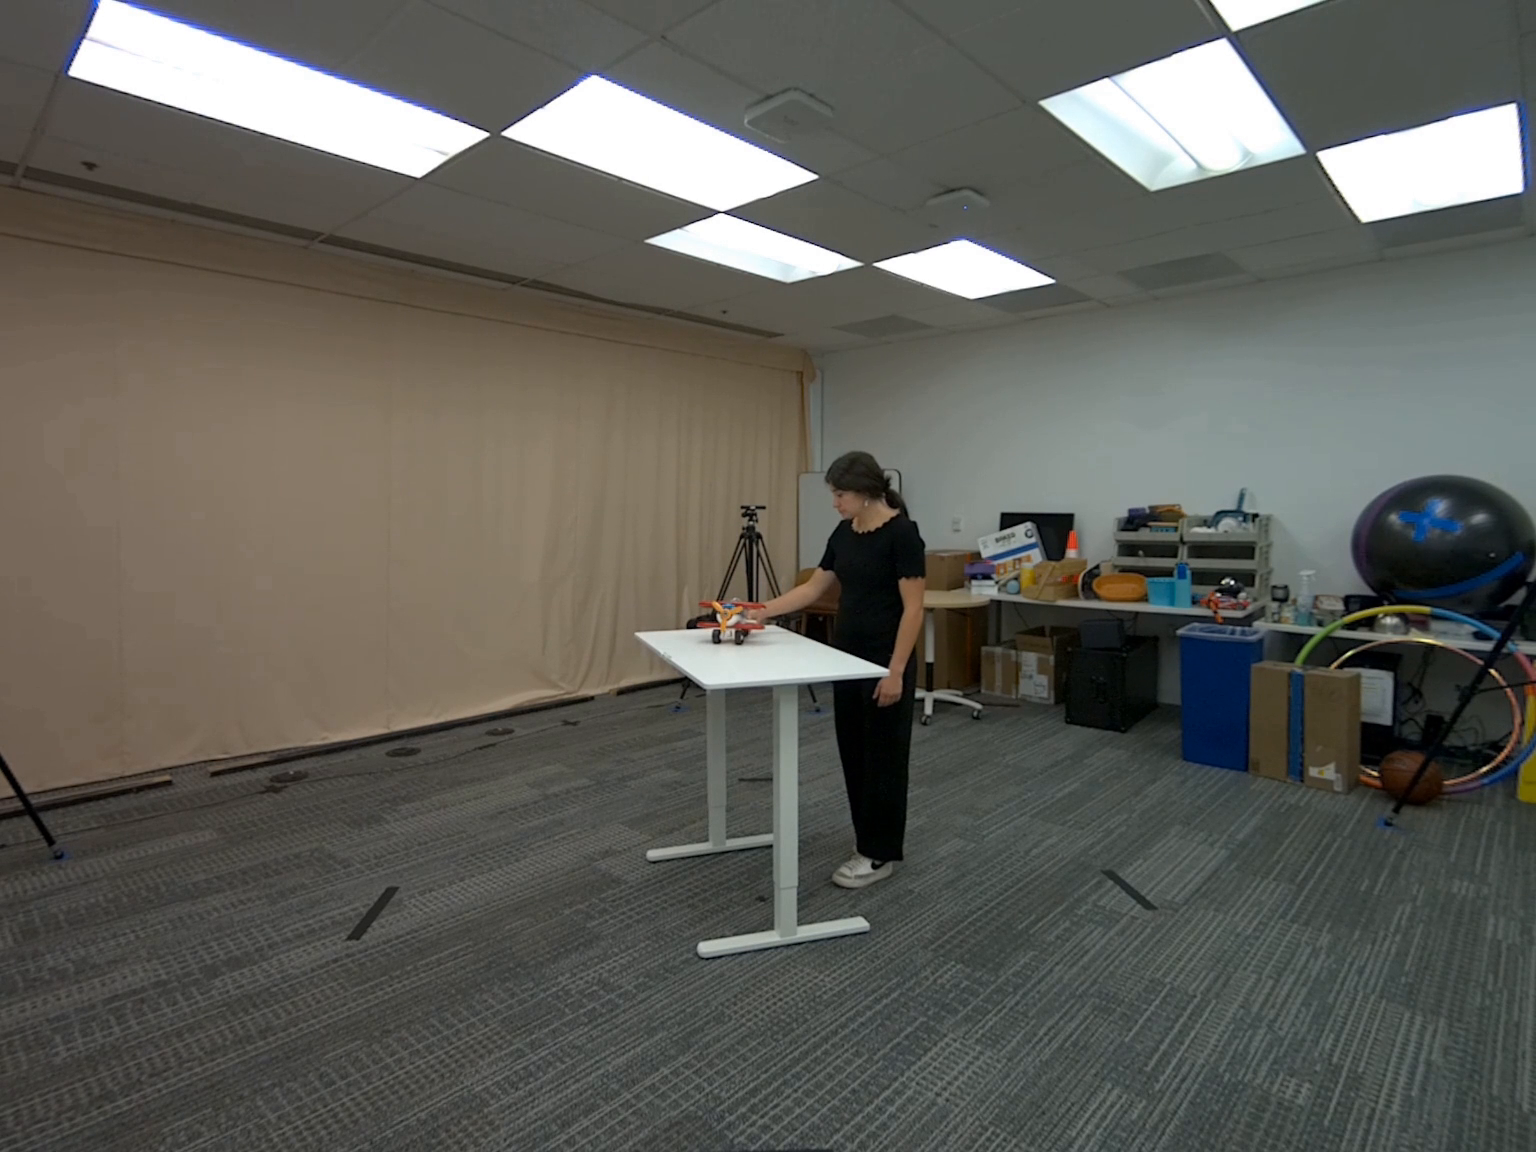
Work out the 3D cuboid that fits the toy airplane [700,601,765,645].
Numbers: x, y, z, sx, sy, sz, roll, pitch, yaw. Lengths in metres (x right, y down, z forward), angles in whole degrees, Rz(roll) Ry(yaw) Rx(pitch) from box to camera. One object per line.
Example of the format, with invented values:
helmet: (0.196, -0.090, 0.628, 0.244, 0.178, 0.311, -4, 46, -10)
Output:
toy airplane: (-0.147, 0.168, 3.190, 0.247, 0.156, 0.264, -1, 6, -14)
